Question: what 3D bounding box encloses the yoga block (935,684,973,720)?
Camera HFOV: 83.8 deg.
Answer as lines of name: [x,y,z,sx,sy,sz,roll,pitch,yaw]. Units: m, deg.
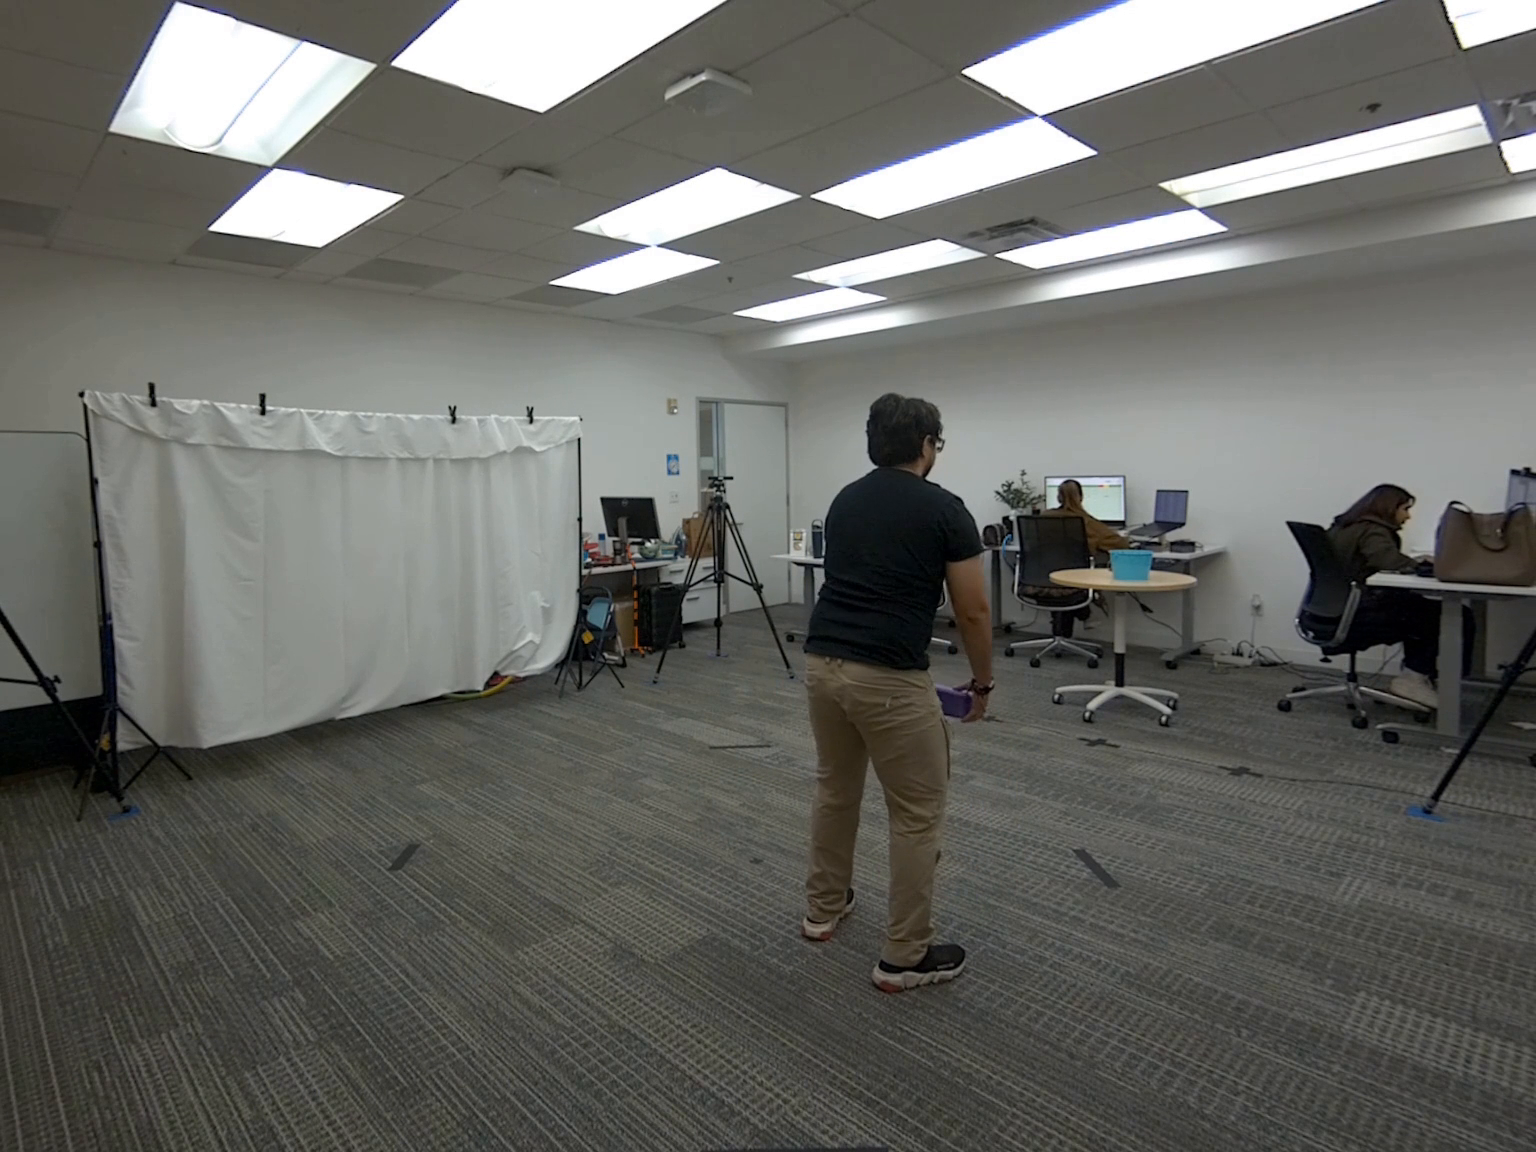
yoga block: [0.533,0.379,2.619,0.236,0.076,0.144,8,1,36]
